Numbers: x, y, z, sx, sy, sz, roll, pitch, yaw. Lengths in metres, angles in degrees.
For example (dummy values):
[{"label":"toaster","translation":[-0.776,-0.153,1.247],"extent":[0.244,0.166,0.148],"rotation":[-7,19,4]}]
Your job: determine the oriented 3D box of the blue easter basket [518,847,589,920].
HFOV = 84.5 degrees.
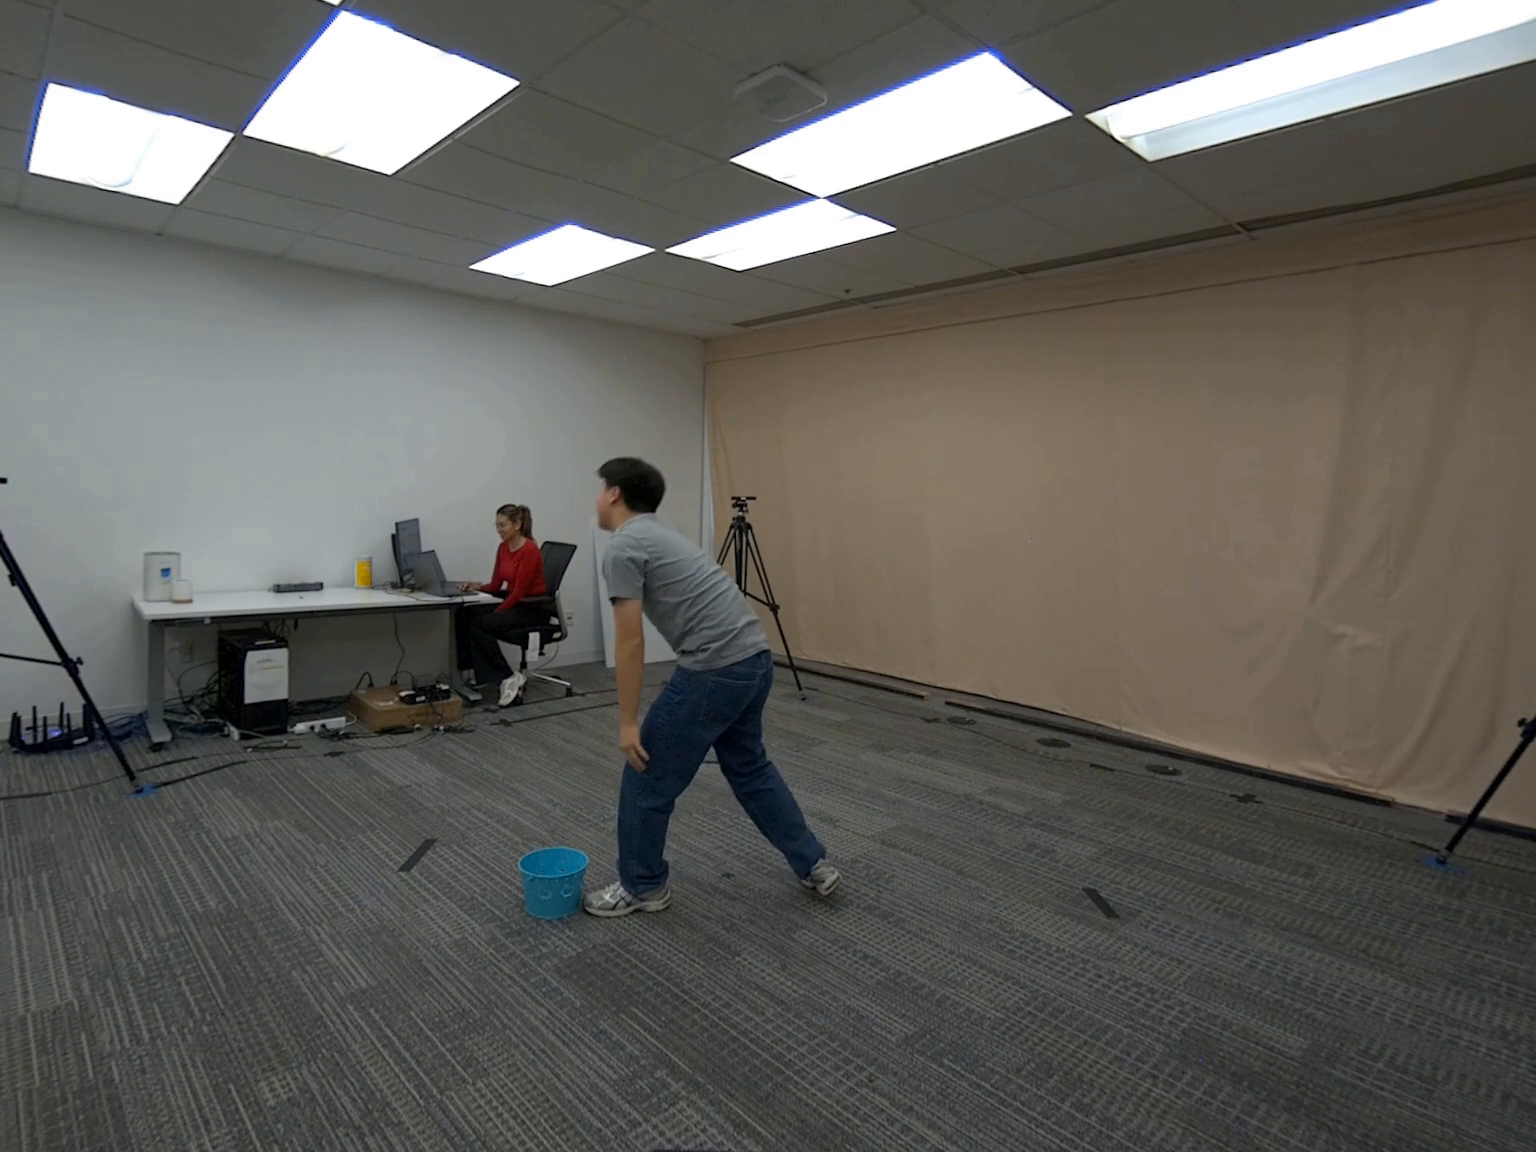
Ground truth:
[{"label":"blue easter basket","translation":[-0.728,1.036,2.846],"extent":[0.243,0.155,0.244],"rotation":[1,4,-1]}]
